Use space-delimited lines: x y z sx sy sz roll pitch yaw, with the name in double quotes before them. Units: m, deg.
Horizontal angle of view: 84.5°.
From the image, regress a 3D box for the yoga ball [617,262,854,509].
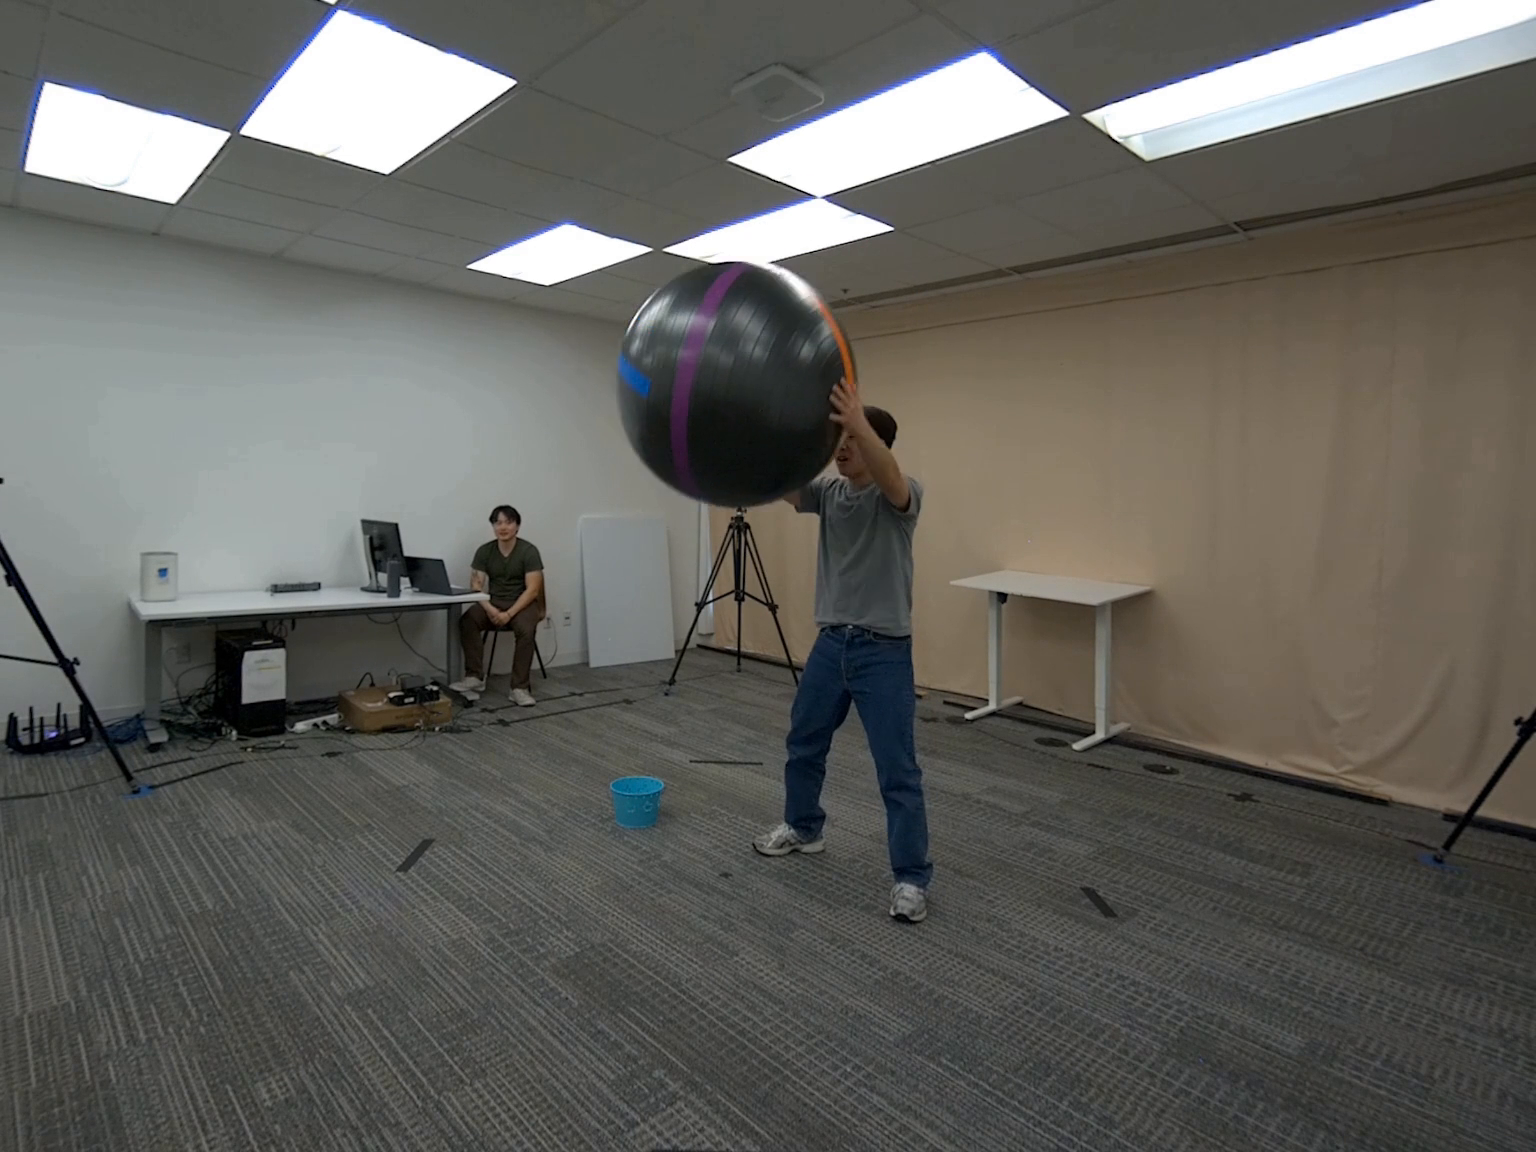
"yoga ball" -0.093 -0.570 2.661 0.757 0.756 0.761 1 4 -1
